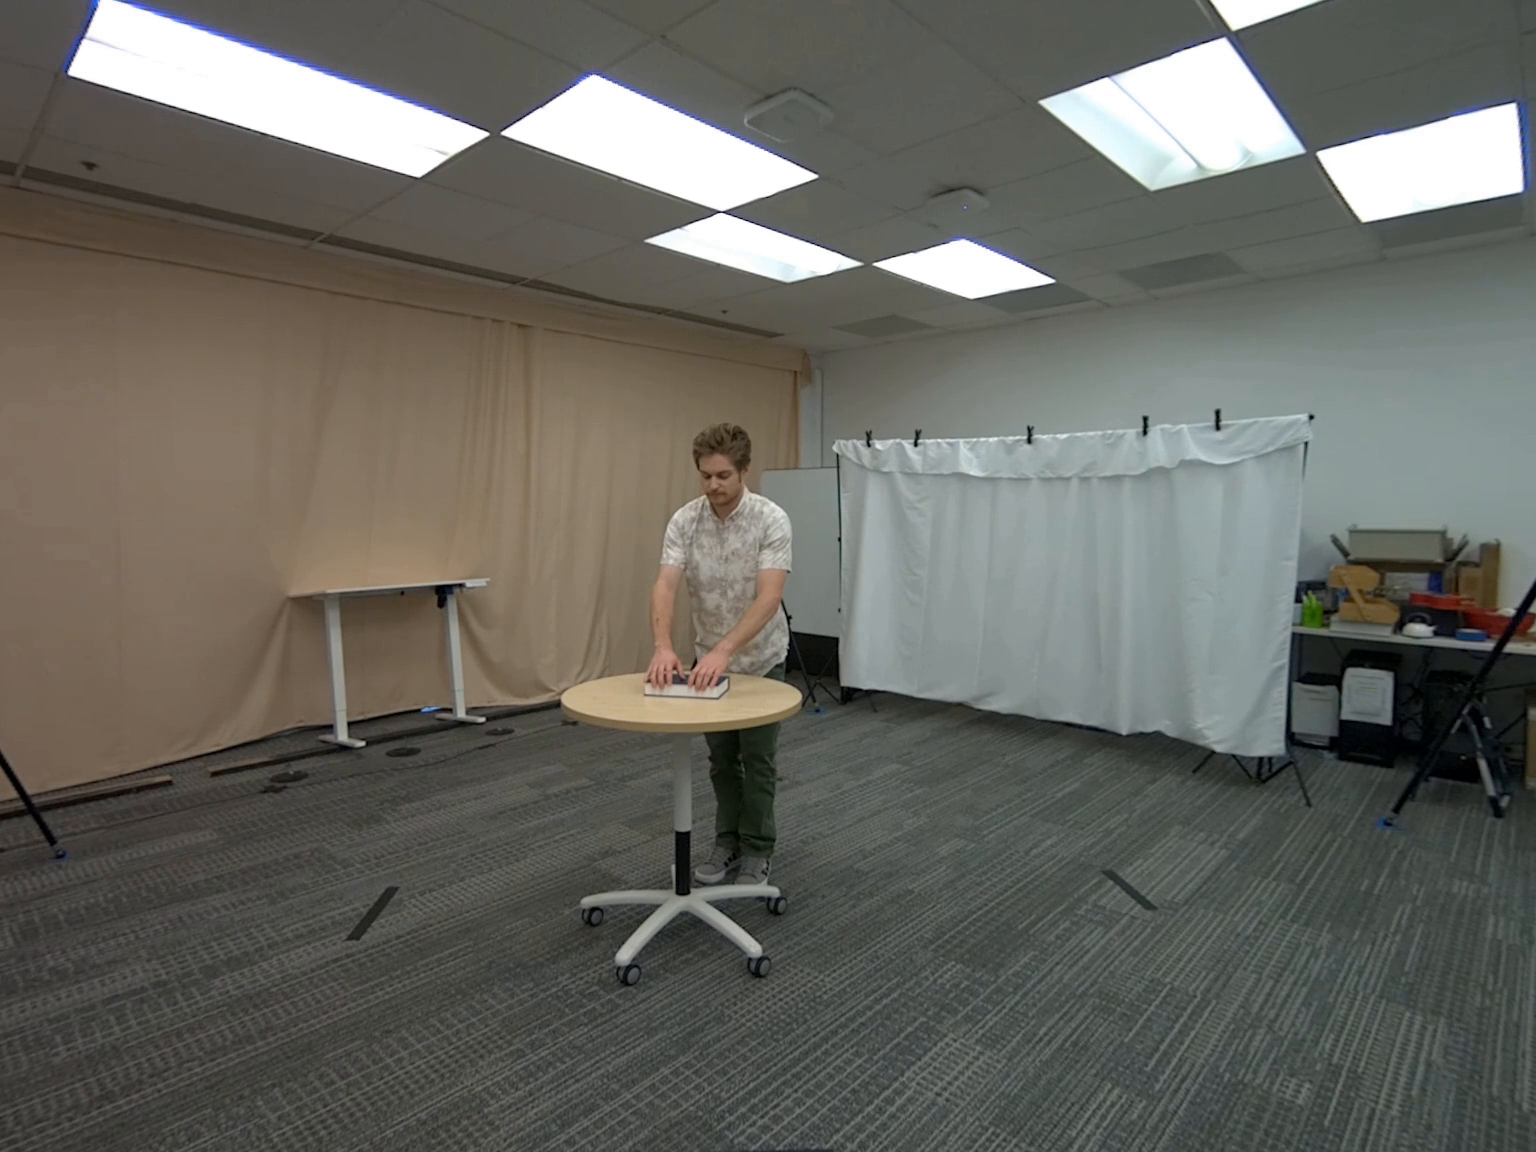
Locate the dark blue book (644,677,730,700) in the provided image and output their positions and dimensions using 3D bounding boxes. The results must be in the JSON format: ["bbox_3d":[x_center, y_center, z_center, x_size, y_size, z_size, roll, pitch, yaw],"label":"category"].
[{"bbox_3d":[-0.262,0.355,2.719,0.248,0.045,0.161,2,4,11],"label":"dark blue book"}]
